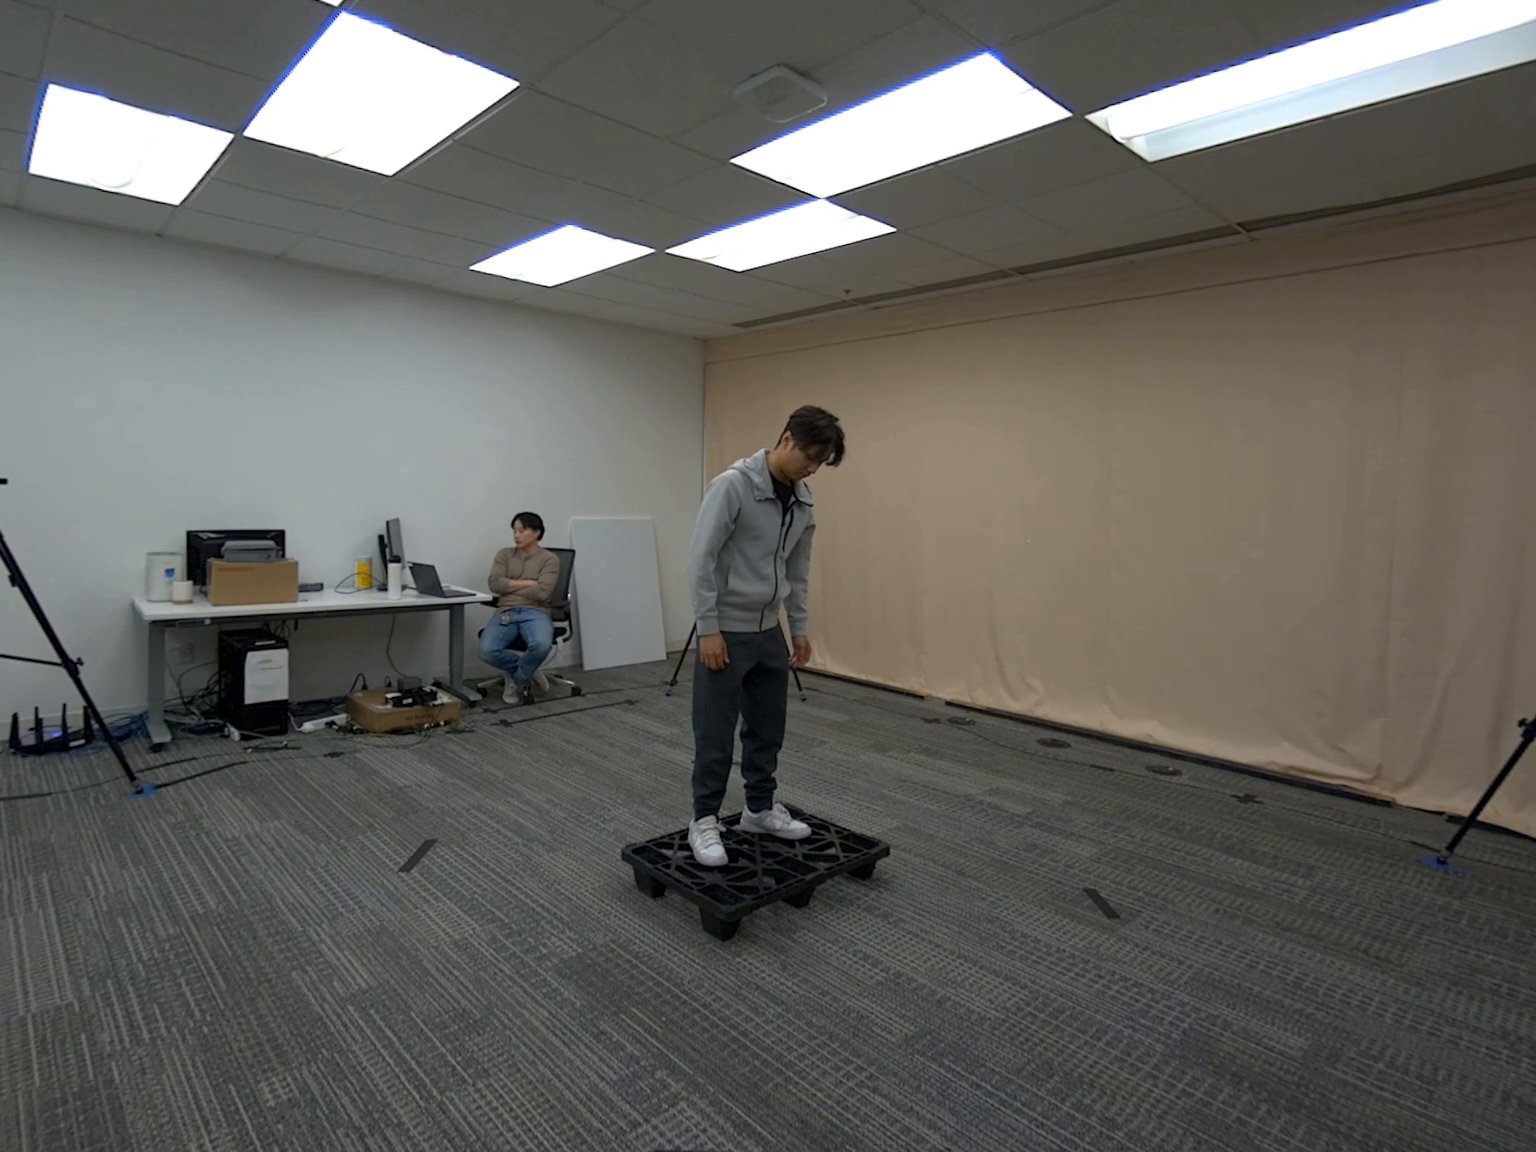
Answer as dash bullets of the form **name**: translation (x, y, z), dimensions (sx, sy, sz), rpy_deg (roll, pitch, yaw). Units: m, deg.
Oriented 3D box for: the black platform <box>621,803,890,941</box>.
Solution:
- **black platform**: translation (-0.050, 1.046, 3.050), dimensions (0.787, 0.143, 0.620), rpy_deg (-3, 6, -42)
